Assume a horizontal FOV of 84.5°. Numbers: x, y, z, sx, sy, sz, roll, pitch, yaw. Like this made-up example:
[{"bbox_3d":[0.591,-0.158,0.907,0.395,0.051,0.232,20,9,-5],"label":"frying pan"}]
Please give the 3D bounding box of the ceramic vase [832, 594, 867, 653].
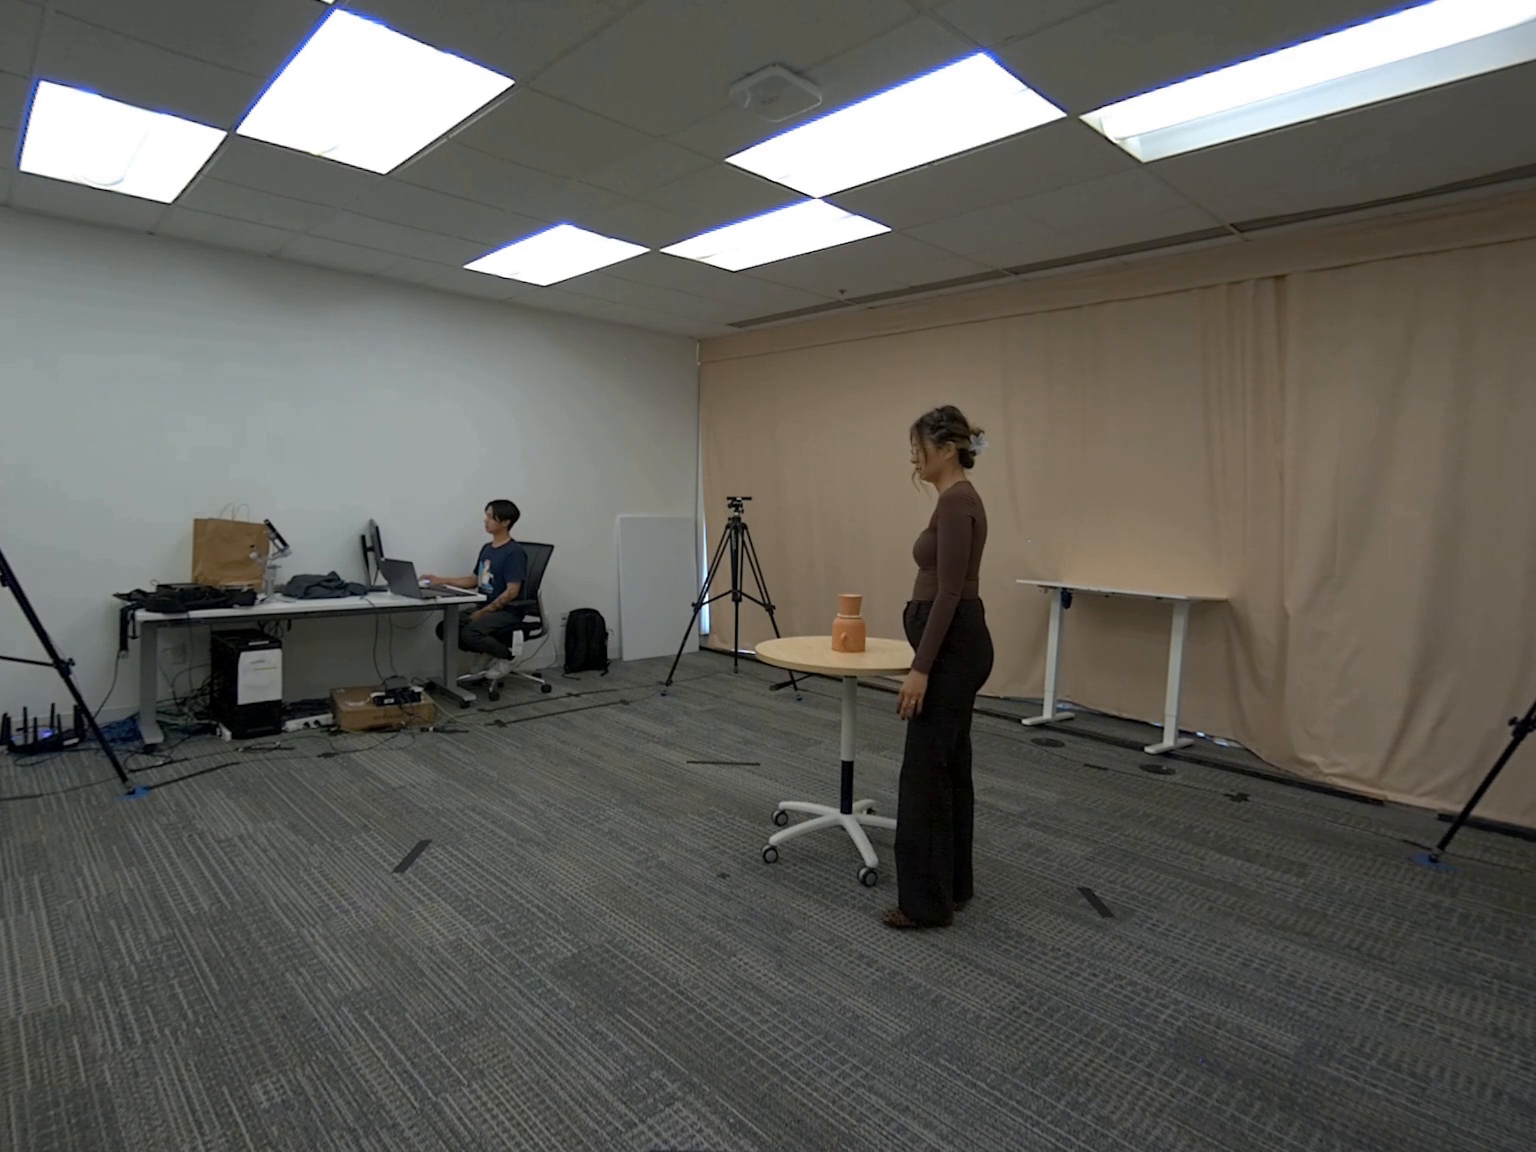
[{"bbox_3d":[0.317,0.186,3.378,0.133,0.219,0.161,1,3,-19],"label":"ceramic vase"}]
